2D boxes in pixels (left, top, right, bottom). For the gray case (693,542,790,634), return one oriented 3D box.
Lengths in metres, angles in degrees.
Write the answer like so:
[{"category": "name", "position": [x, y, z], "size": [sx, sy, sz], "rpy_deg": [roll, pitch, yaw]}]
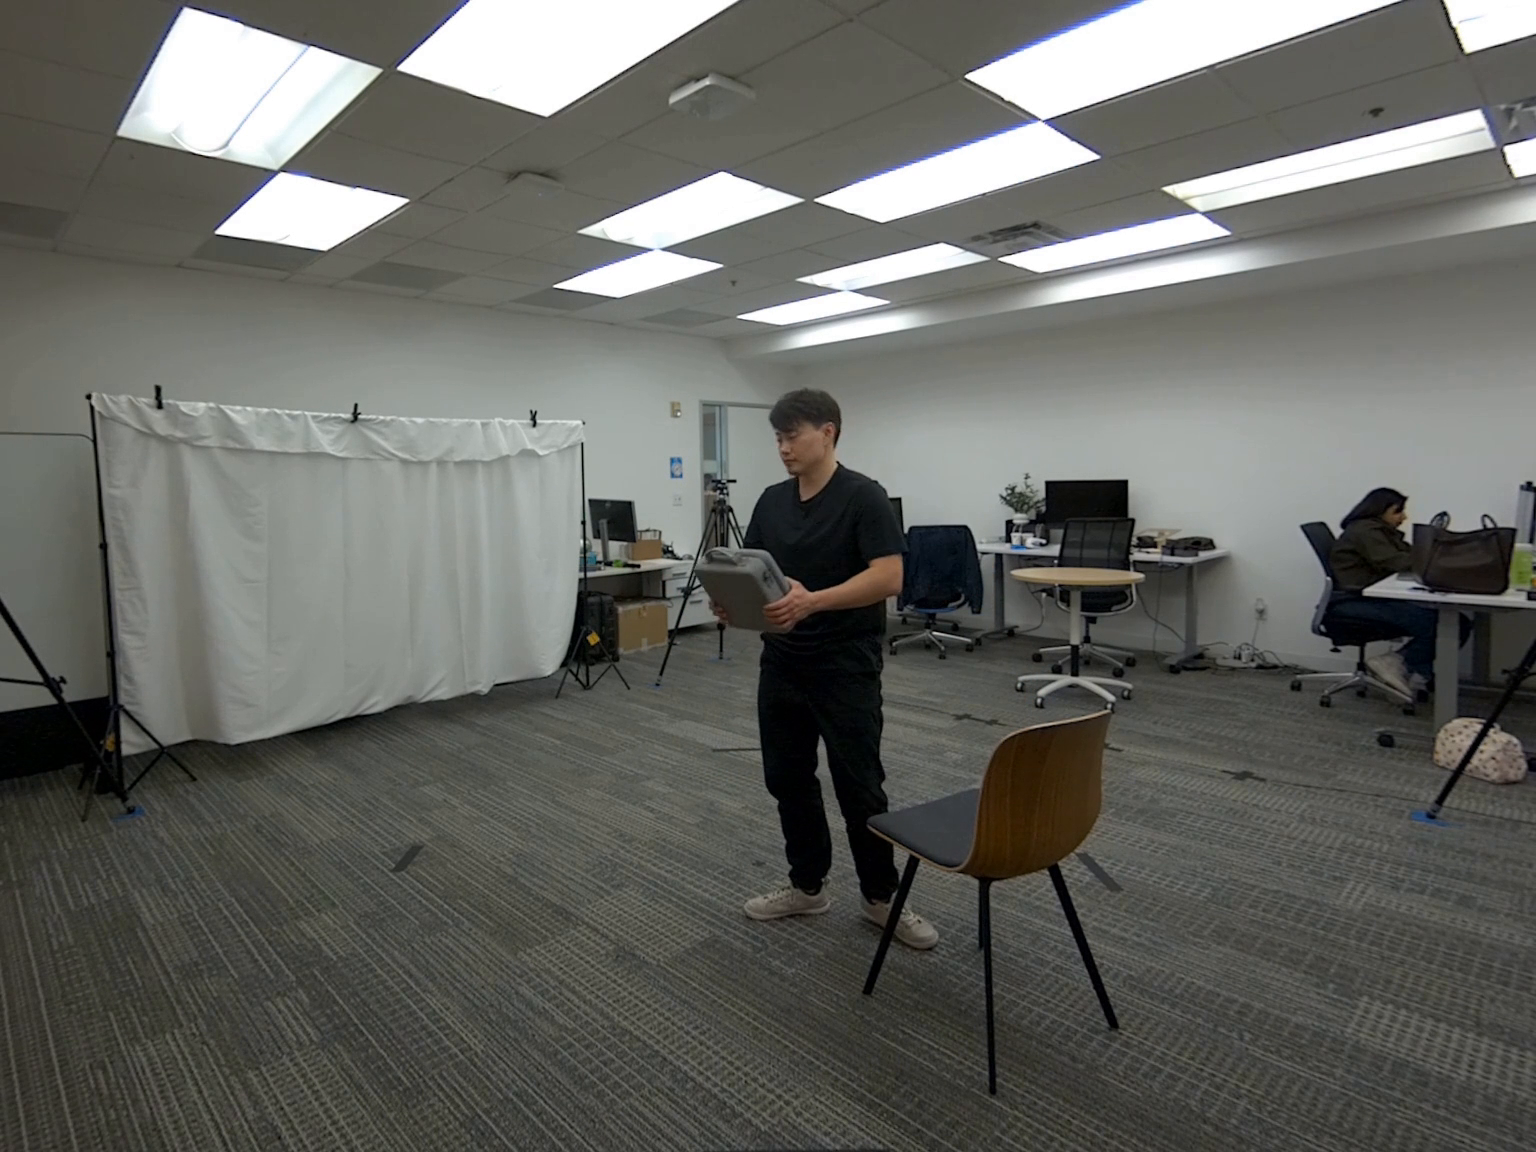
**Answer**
[{"category": "gray case", "position": [-0.036, 0.037, 2.446], "size": [0.265, 0.252, 0.104], "rpy_deg": [3, 45, 47]}]
